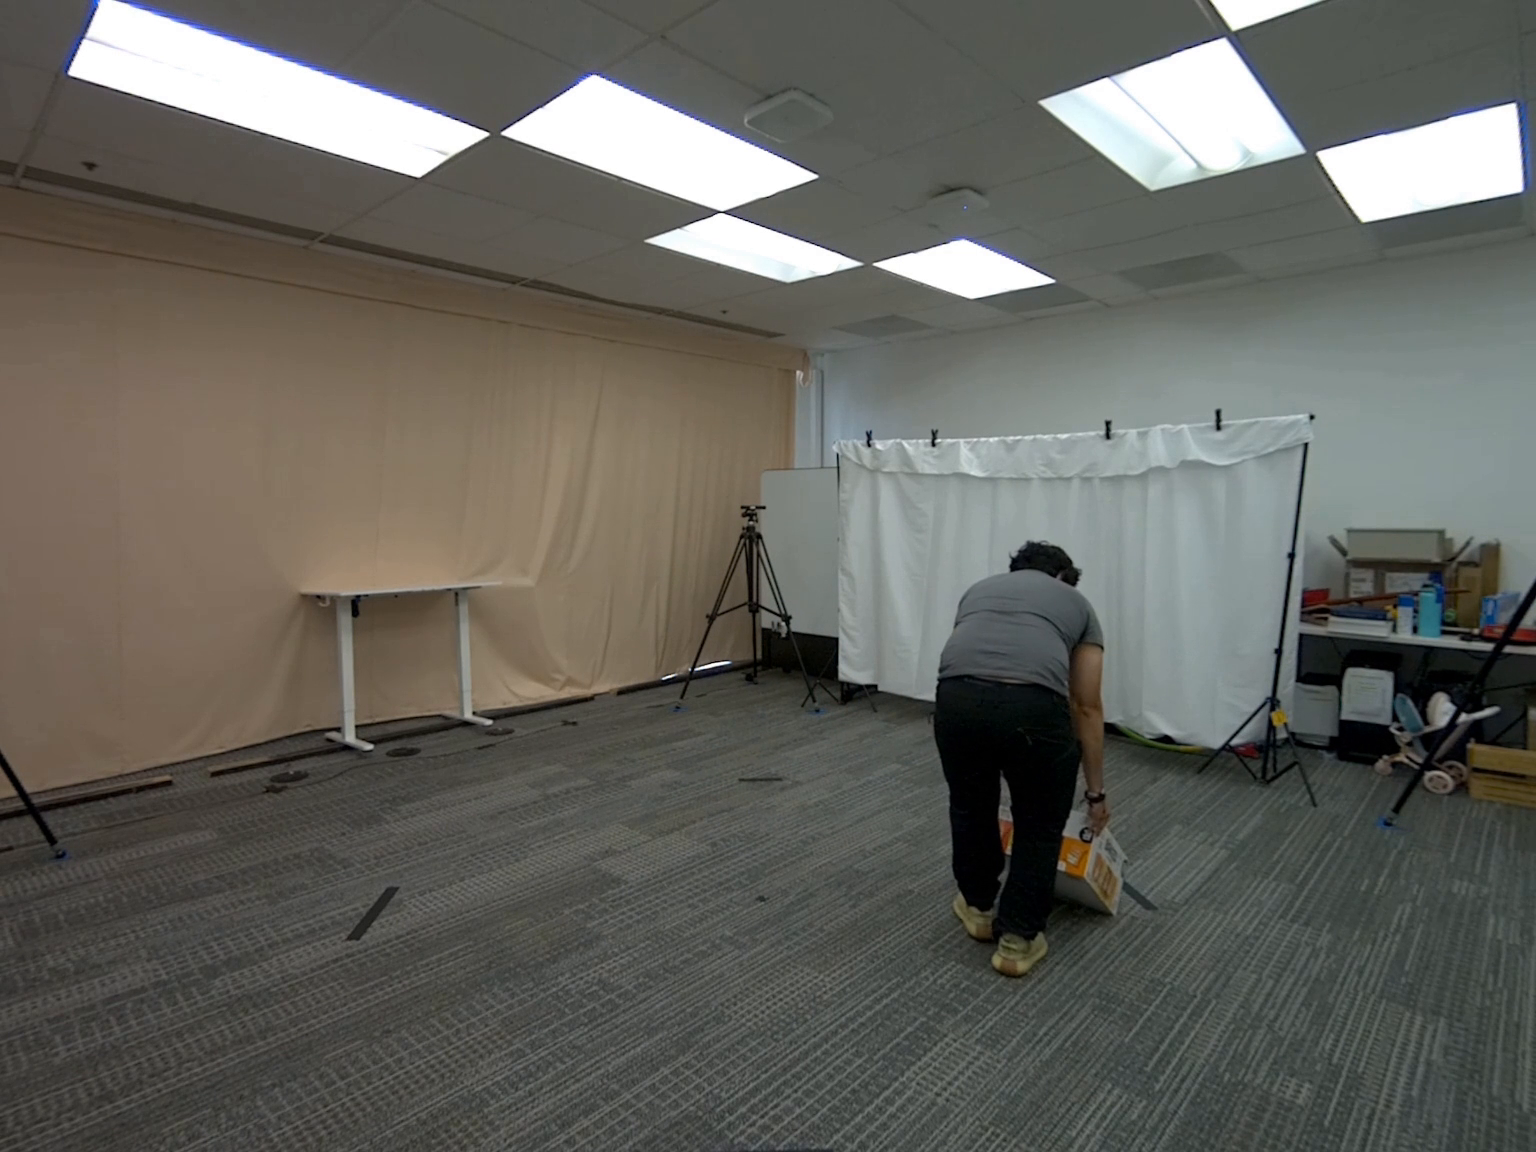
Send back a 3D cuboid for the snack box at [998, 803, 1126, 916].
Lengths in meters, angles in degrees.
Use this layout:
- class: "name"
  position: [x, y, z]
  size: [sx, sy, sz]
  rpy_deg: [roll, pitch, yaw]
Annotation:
- class: "snack box"
  position: [0.992, 0.952, 2.887]
  size: [0.352, 0.206, 0.391]
  rpy_deg: [5, -32, 40]
